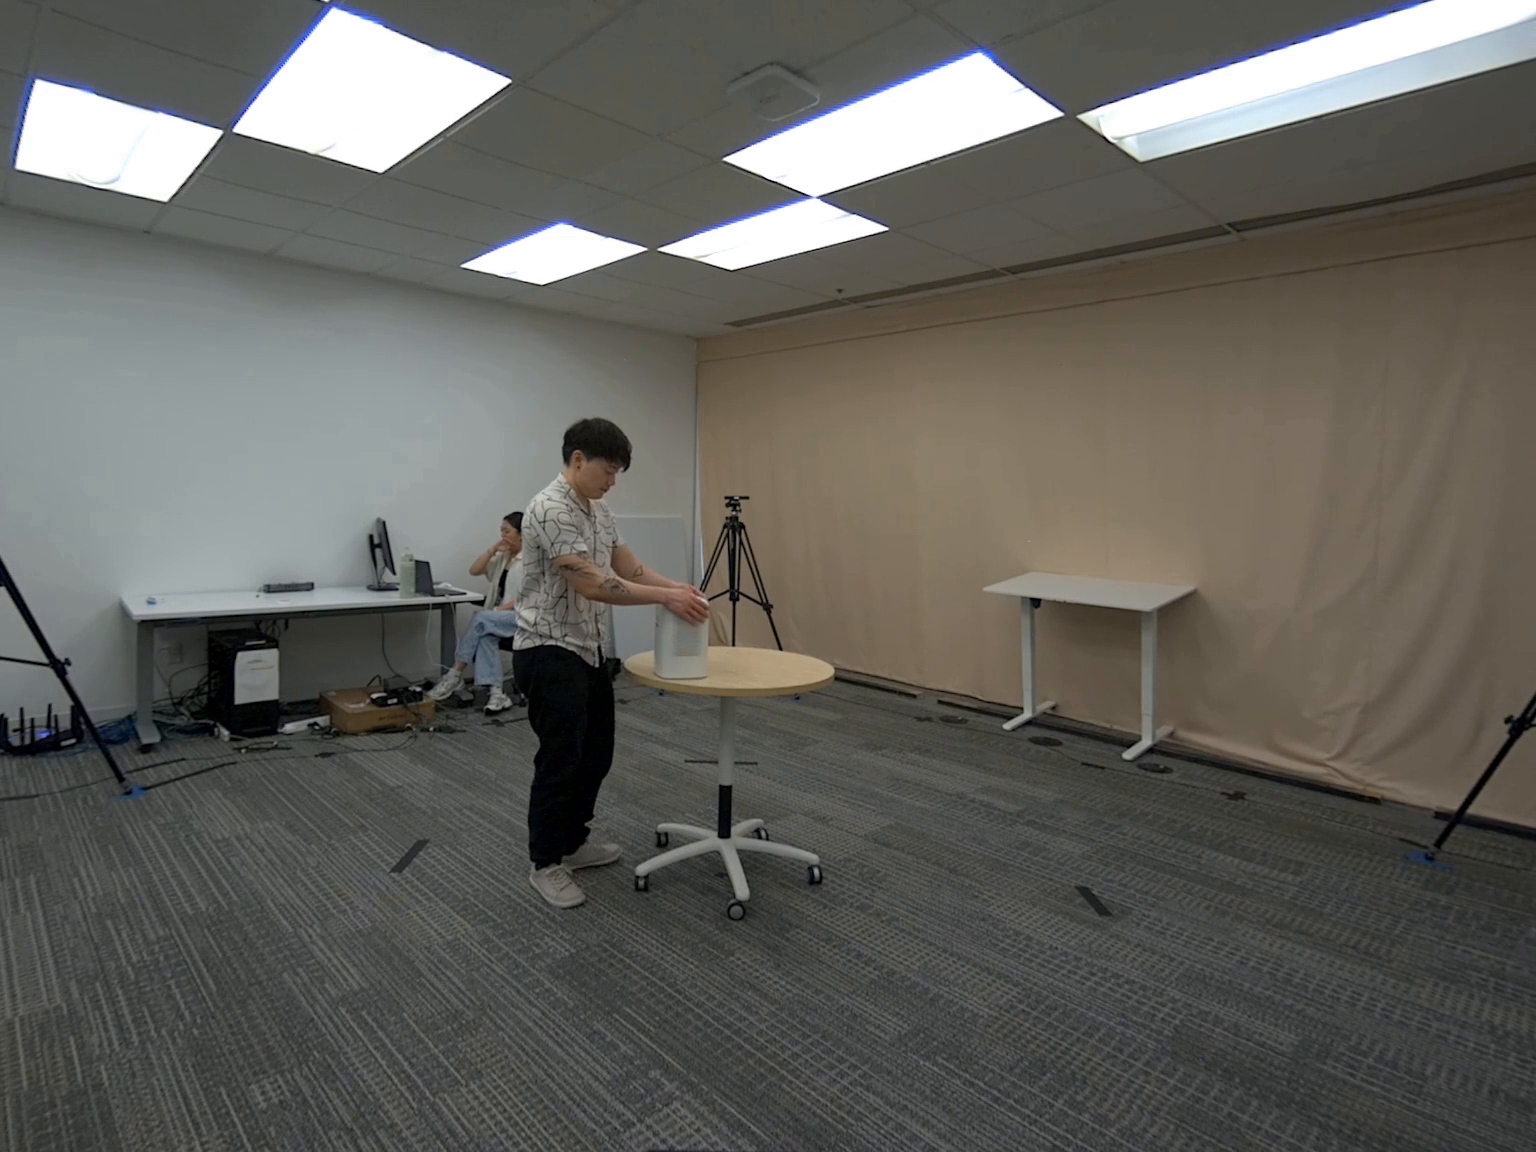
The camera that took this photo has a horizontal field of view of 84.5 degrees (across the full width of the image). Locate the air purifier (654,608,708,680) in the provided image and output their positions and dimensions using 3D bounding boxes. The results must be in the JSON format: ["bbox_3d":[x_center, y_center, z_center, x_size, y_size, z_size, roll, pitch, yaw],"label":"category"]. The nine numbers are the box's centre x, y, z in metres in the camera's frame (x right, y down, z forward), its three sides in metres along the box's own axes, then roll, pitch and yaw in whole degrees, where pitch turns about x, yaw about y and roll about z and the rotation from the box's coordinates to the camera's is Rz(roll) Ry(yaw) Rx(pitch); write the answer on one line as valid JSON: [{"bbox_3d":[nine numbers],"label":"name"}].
[{"bbox_3d":[-0.306,0.208,2.871,0.170,0.264,0.173,0,5,-12],"label":"air purifier"}]
